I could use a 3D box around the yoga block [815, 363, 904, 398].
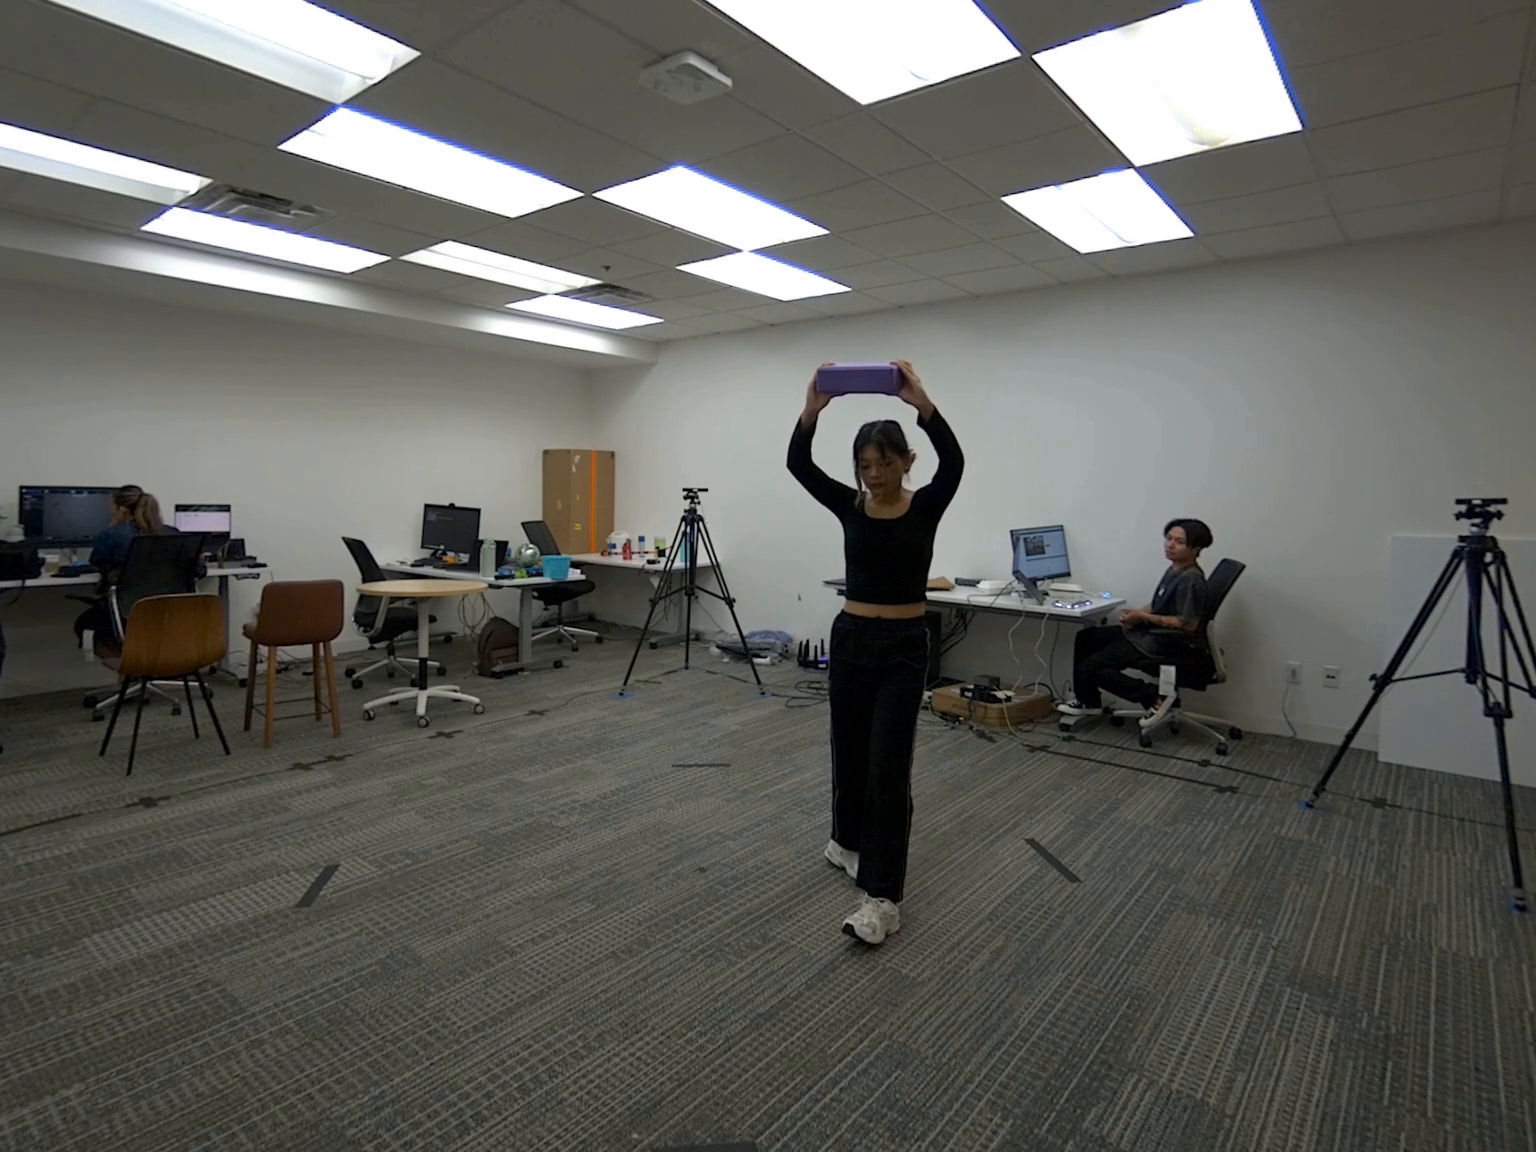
[{"bbox_3d":[0.271,-0.576,2.460,0.235,0.075,0.147,6,19,24],"label":"yoga block"}]
